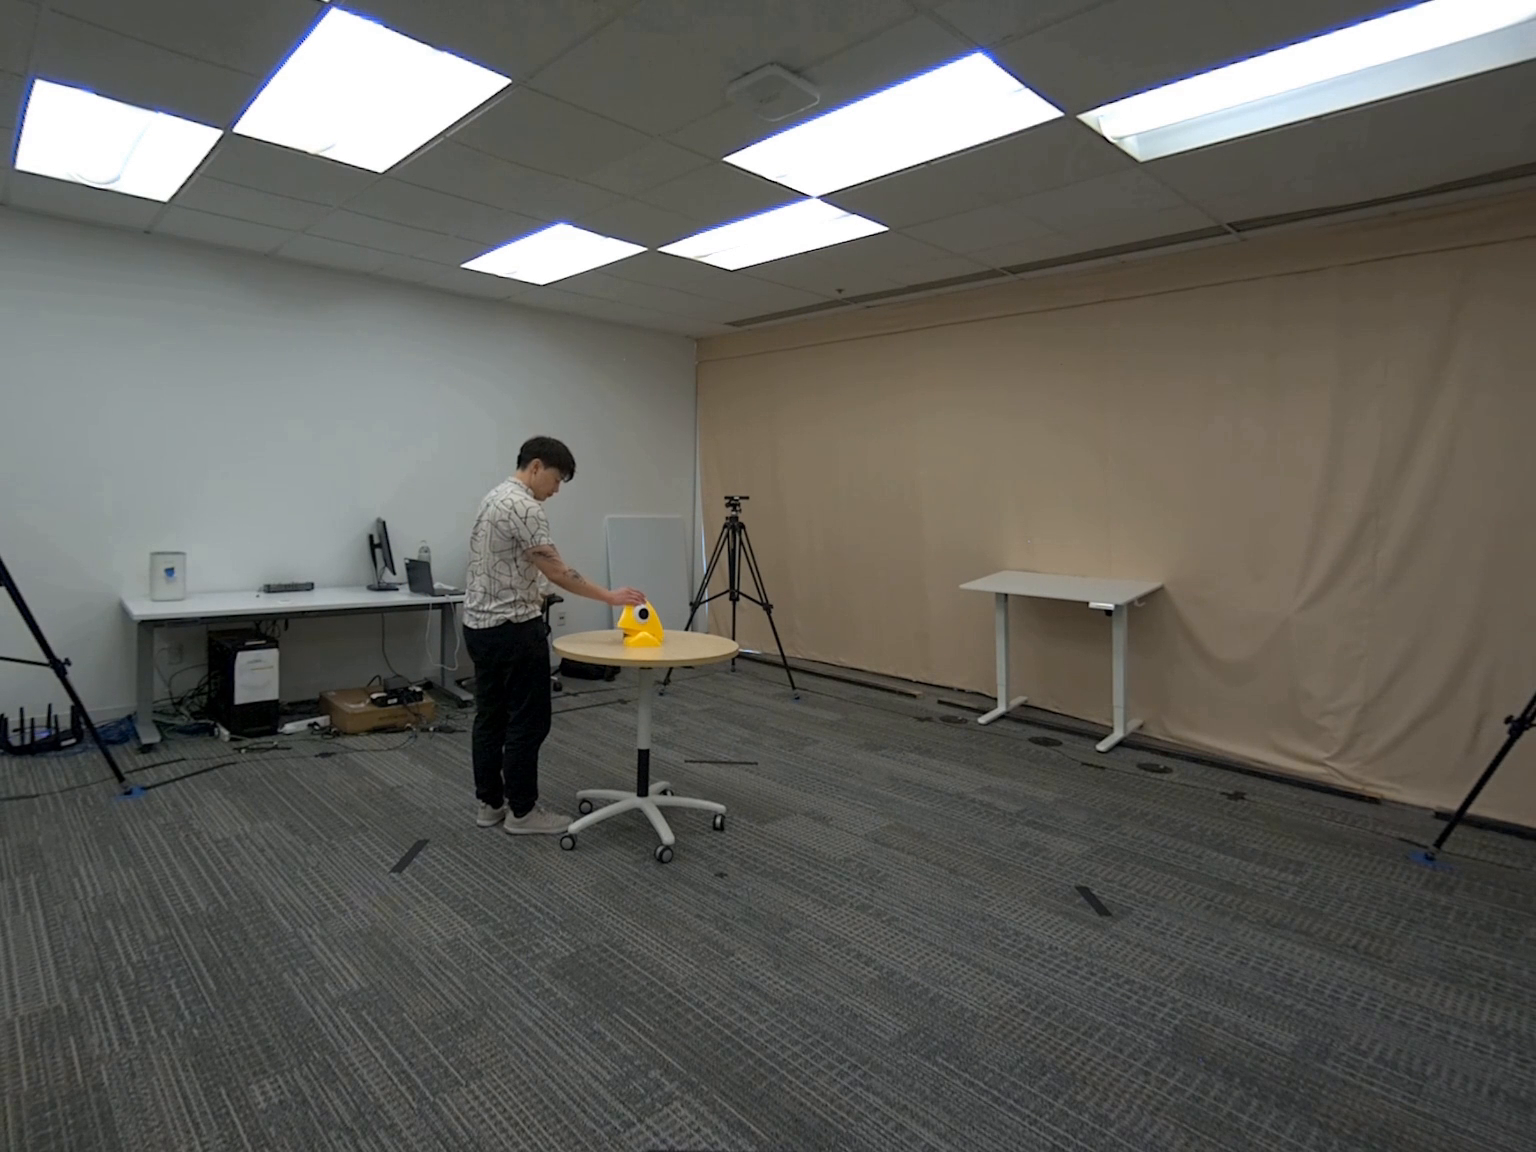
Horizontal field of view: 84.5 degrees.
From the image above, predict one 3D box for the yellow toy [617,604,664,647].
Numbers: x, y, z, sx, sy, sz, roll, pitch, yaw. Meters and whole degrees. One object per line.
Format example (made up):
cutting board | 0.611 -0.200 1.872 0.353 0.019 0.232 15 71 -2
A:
yellow toy | -0.534 0.163 3.486 0.192 0.230 0.206 2 3 -6
